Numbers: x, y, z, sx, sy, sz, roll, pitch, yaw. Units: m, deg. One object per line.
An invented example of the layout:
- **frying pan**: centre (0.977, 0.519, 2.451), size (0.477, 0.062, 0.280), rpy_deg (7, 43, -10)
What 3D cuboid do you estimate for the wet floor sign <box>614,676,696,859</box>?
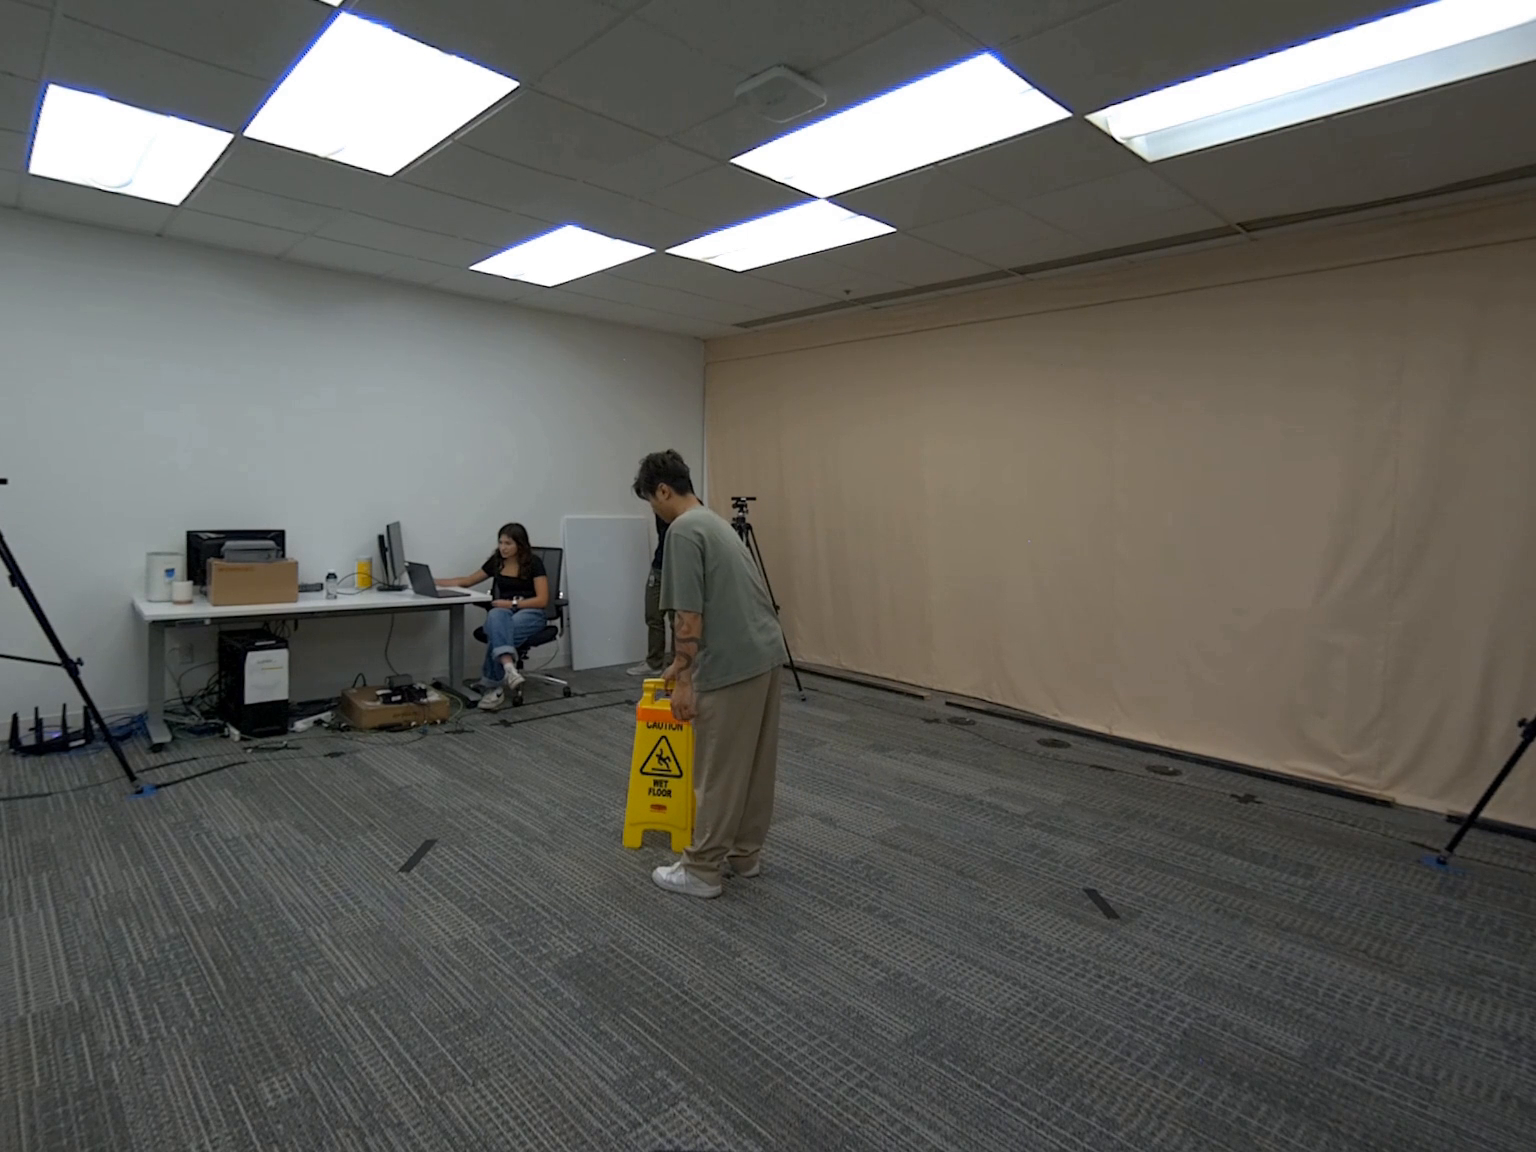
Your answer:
- **wet floor sign**: centre (-0.441, 0.758, 3.431), size (0.284, 0.645, 0.288), rpy_deg (0, 3, 9)
